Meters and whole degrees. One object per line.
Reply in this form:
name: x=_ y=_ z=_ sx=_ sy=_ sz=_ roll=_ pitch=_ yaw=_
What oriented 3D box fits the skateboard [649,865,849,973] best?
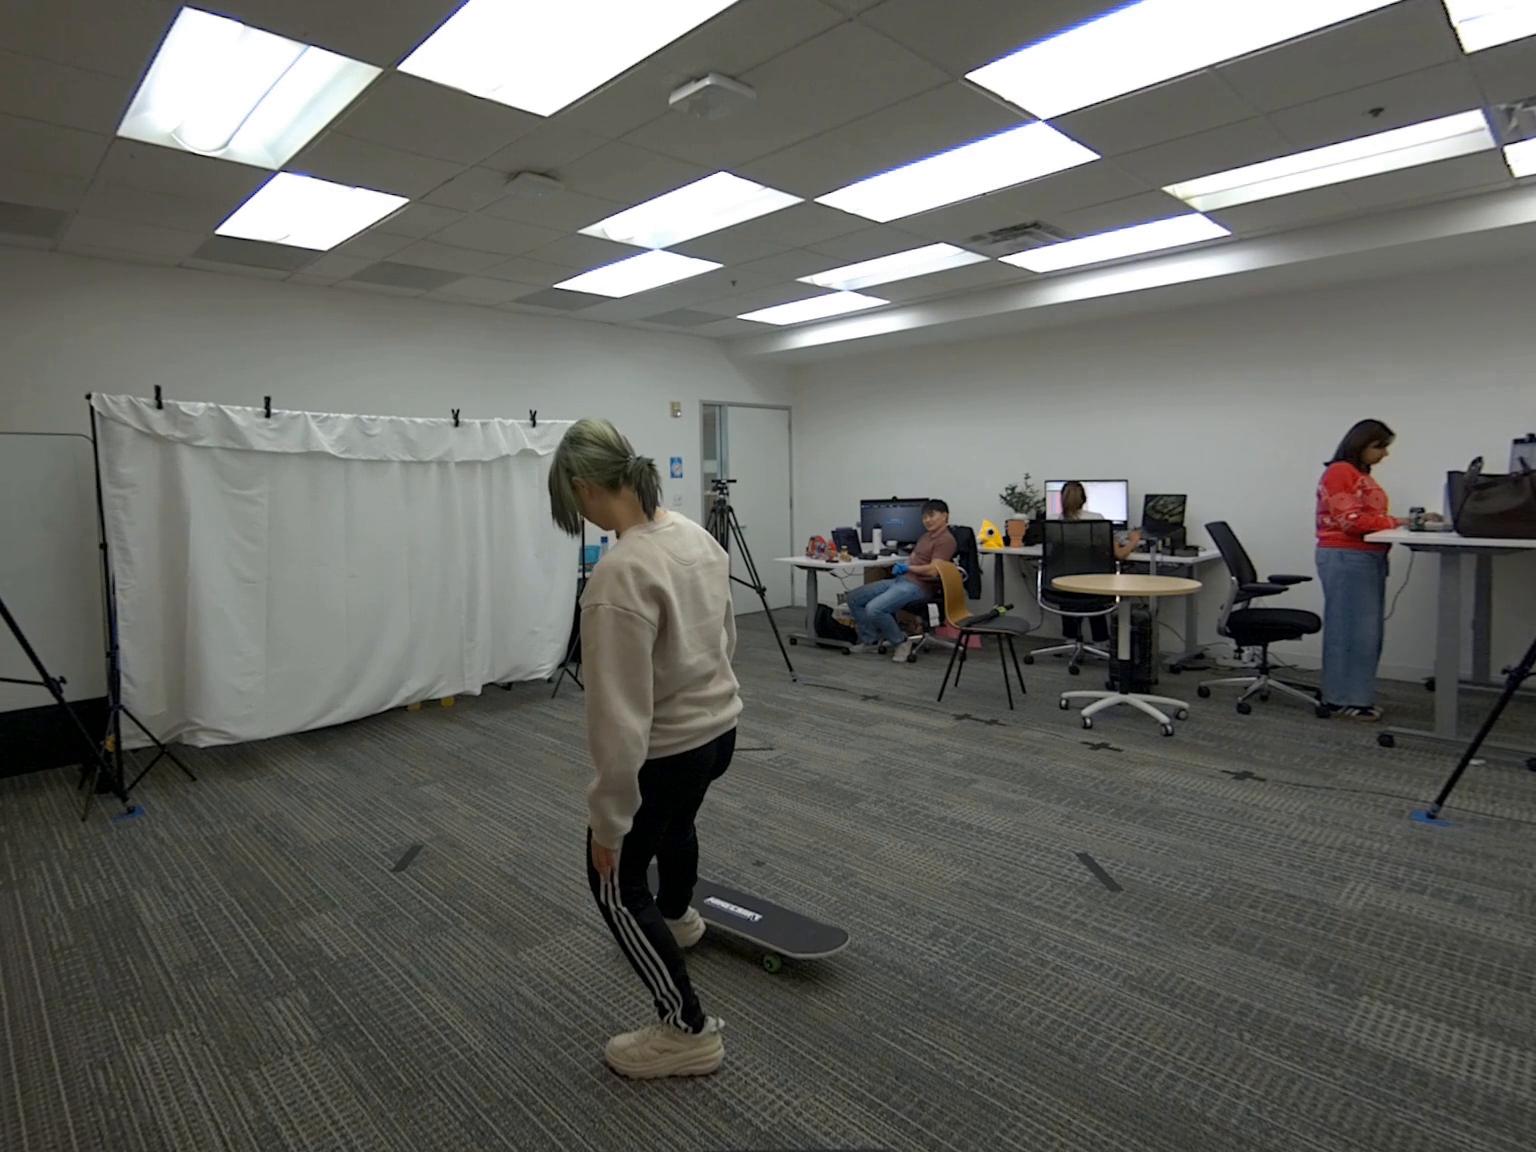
skateboard: x=-0.109 y=1.052 z=2.602 sx=0.808 sy=0.110 sz=0.189 roll=3 pitch=8 yaw=36
